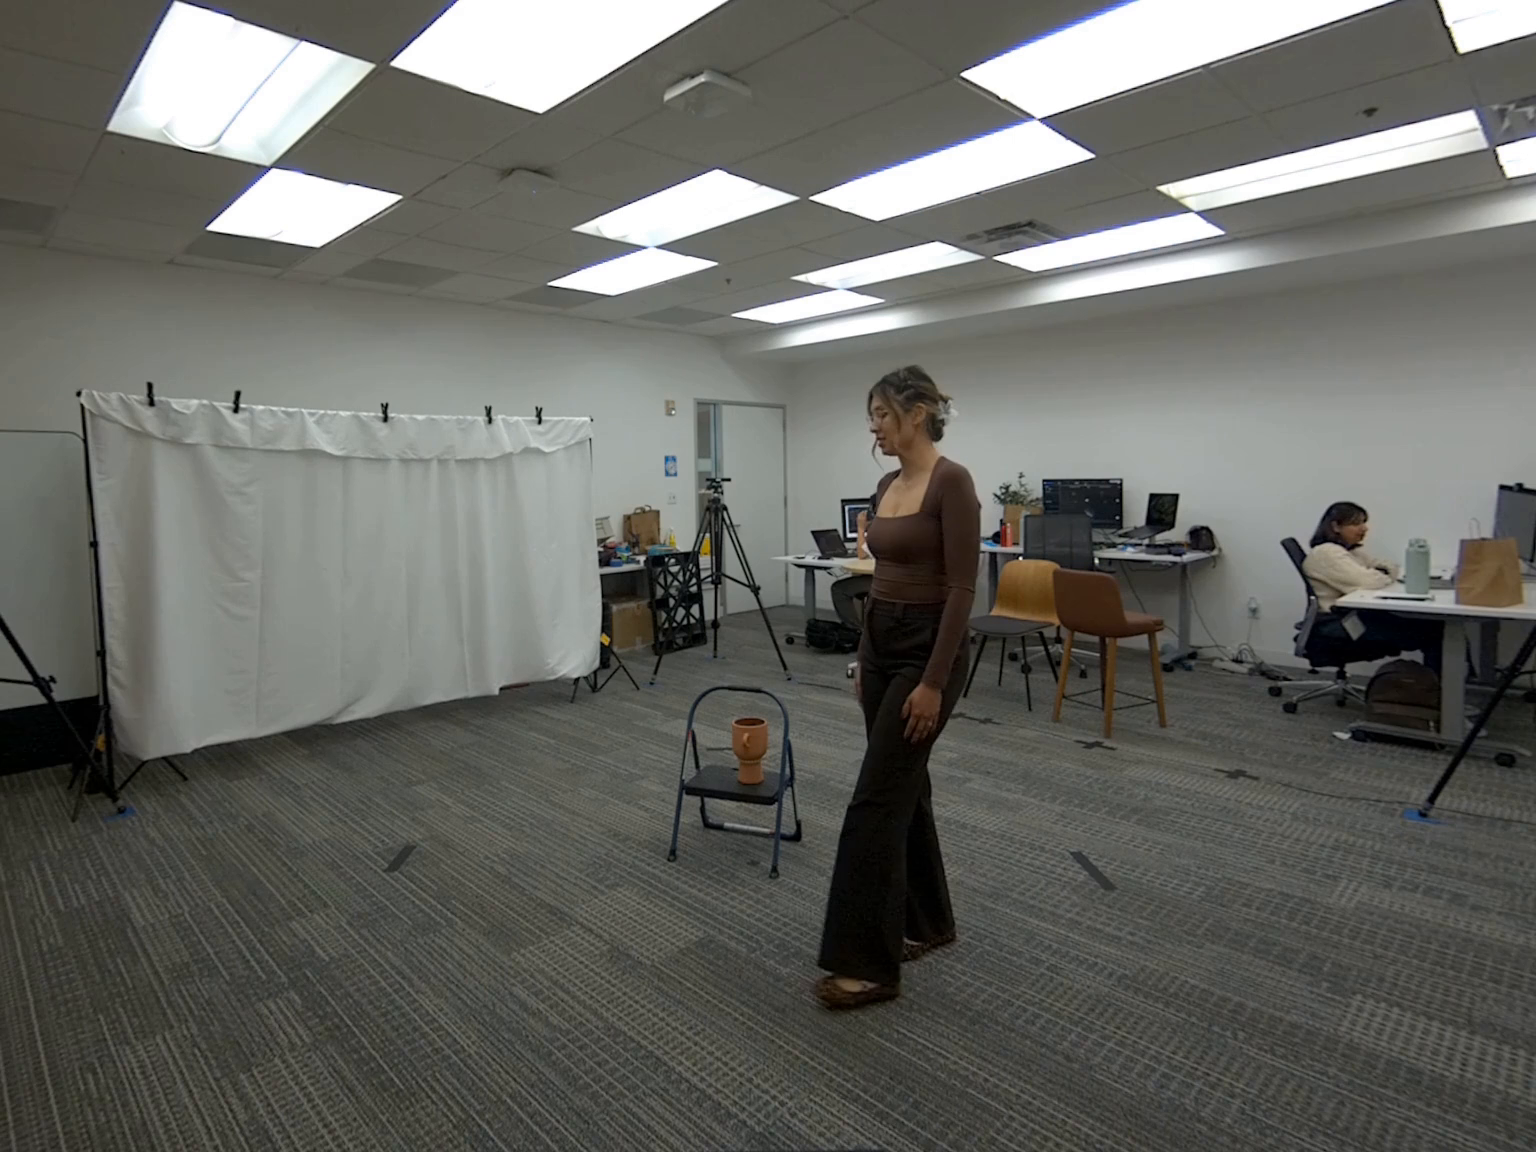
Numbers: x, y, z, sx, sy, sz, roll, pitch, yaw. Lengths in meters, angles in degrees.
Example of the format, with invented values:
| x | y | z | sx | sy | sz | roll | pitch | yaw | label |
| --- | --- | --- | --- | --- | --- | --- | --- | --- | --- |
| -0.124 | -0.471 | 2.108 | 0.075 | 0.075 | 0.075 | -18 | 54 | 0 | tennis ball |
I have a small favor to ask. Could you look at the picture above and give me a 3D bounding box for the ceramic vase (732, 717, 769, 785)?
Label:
| x | y | z | sx | sy | sz | roll | pitch | yaw | label |
| --- | --- | --- | --- | --- | --- | --- | --- | --- | --- |
| -0.067 | 0.660 | 3.214 | 0.155 | 0.219 | 0.139 | -4 | 6 | -37 | ceramic vase |
